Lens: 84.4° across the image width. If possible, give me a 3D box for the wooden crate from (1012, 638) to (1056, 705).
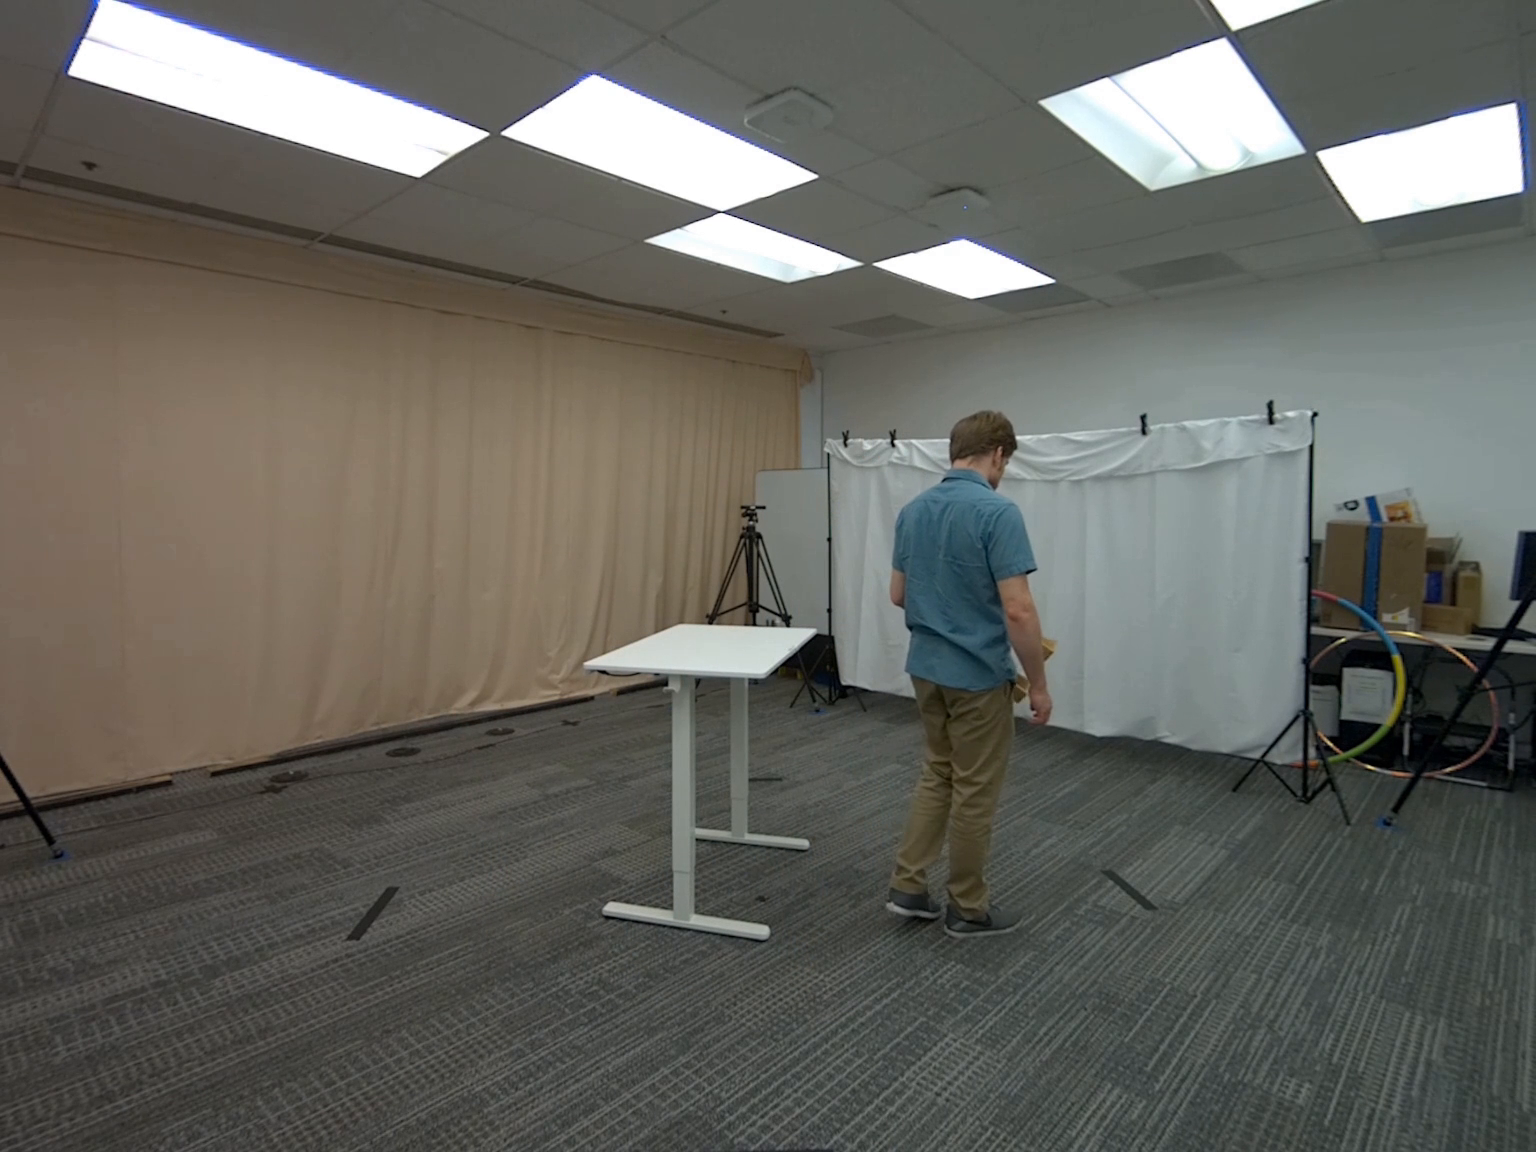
[{"bbox_3d":[0.839,0.230,3.002,0.327,0.273,0.299,32,1,6],"label":"wooden crate"}]
